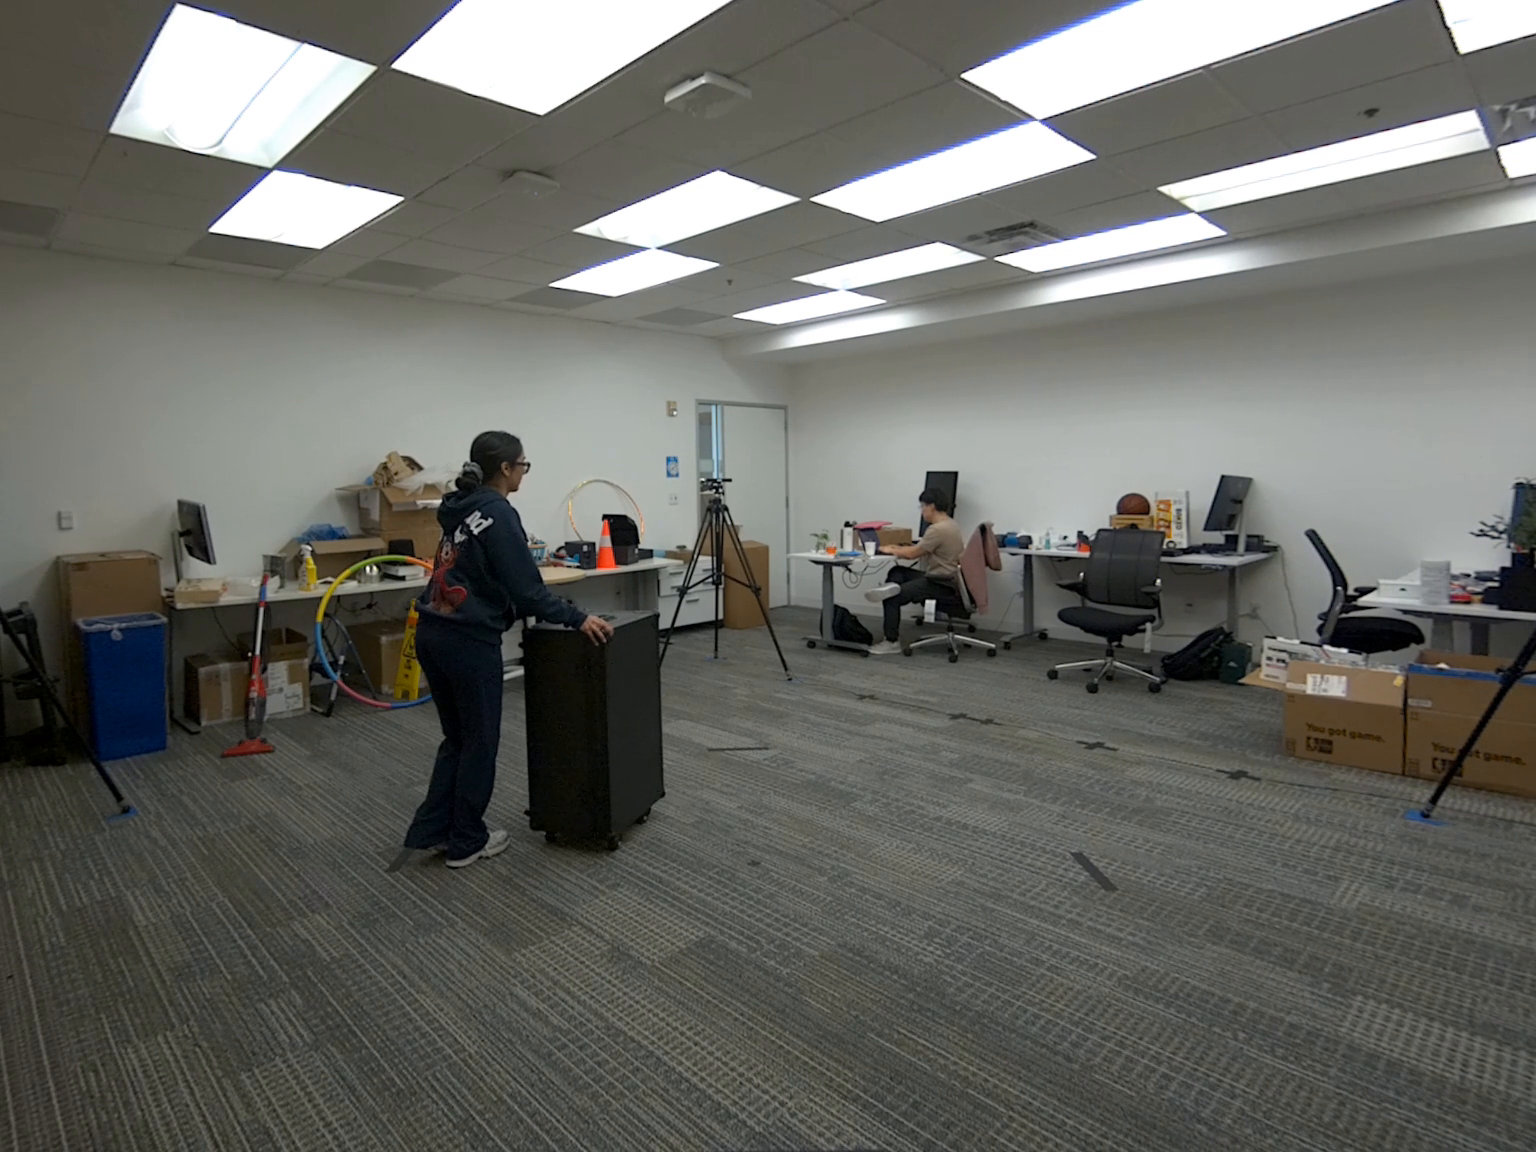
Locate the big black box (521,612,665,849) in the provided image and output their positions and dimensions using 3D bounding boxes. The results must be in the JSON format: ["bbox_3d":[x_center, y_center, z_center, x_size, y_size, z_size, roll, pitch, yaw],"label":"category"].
[{"bbox_3d":[-0.689,0.594,3.421,0.404,0.859,0.513,0,3,20],"label":"big black box"}]
